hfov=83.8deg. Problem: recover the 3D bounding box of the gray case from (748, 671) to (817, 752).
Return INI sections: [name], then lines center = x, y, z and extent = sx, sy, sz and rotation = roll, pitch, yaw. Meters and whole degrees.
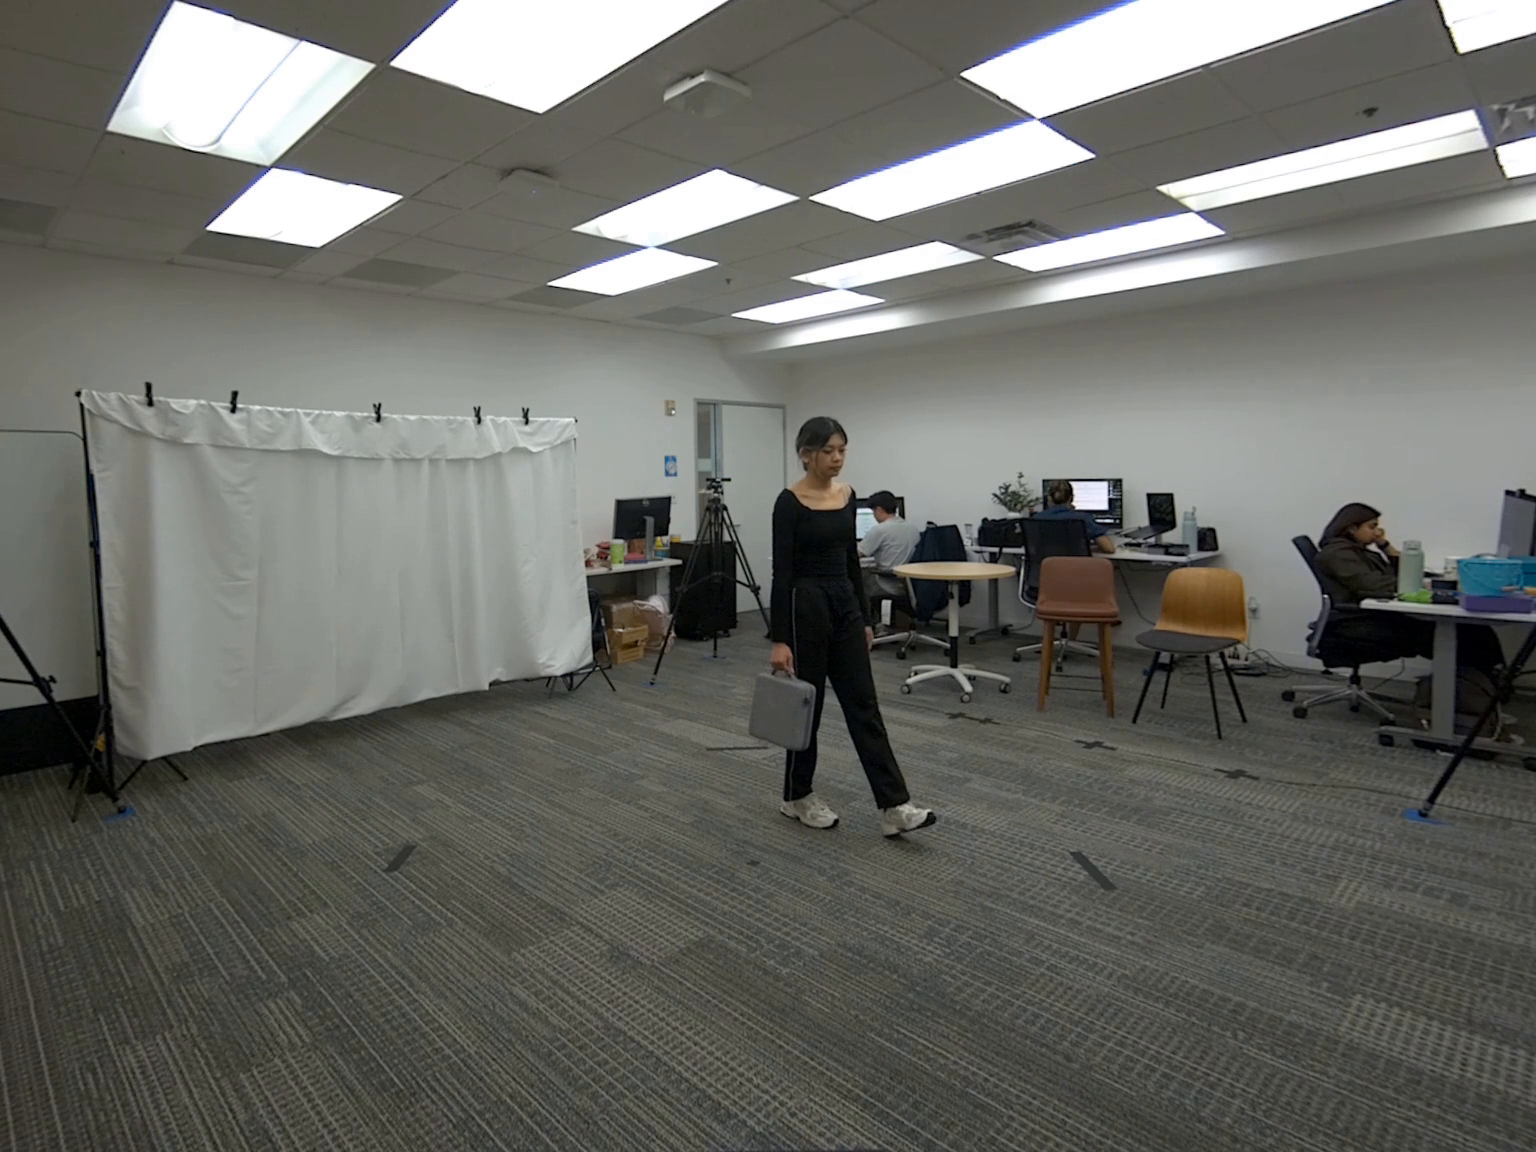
[gray case]
center = 0.061, 0.510, 3.264
extent = 0.101, 0.261, 0.265
rotation = 7, 0, -41
